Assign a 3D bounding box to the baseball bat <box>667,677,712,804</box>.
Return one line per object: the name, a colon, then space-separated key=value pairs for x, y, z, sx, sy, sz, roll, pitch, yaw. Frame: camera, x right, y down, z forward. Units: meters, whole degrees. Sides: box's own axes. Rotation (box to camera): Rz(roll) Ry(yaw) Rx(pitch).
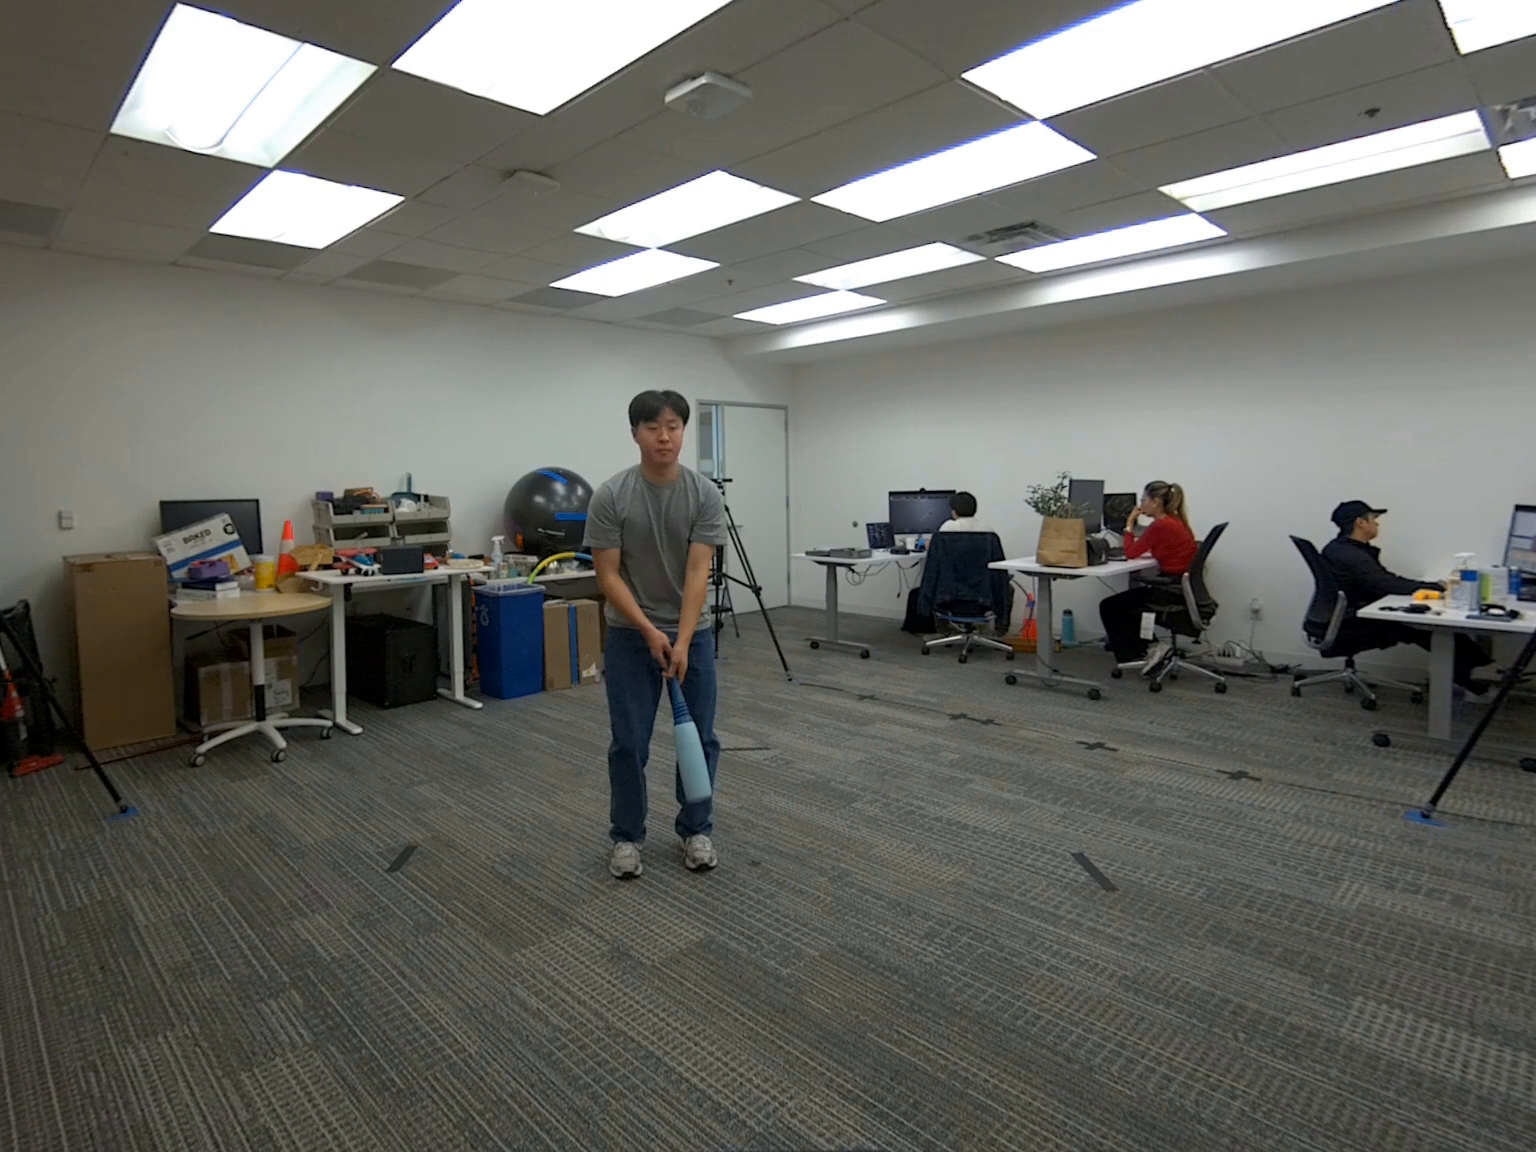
baseball bat: x=-0.279 y=0.450 z=2.813 sx=0.089 sy=0.555 sz=0.087 roll=-13 pitch=-21 yaw=-6
